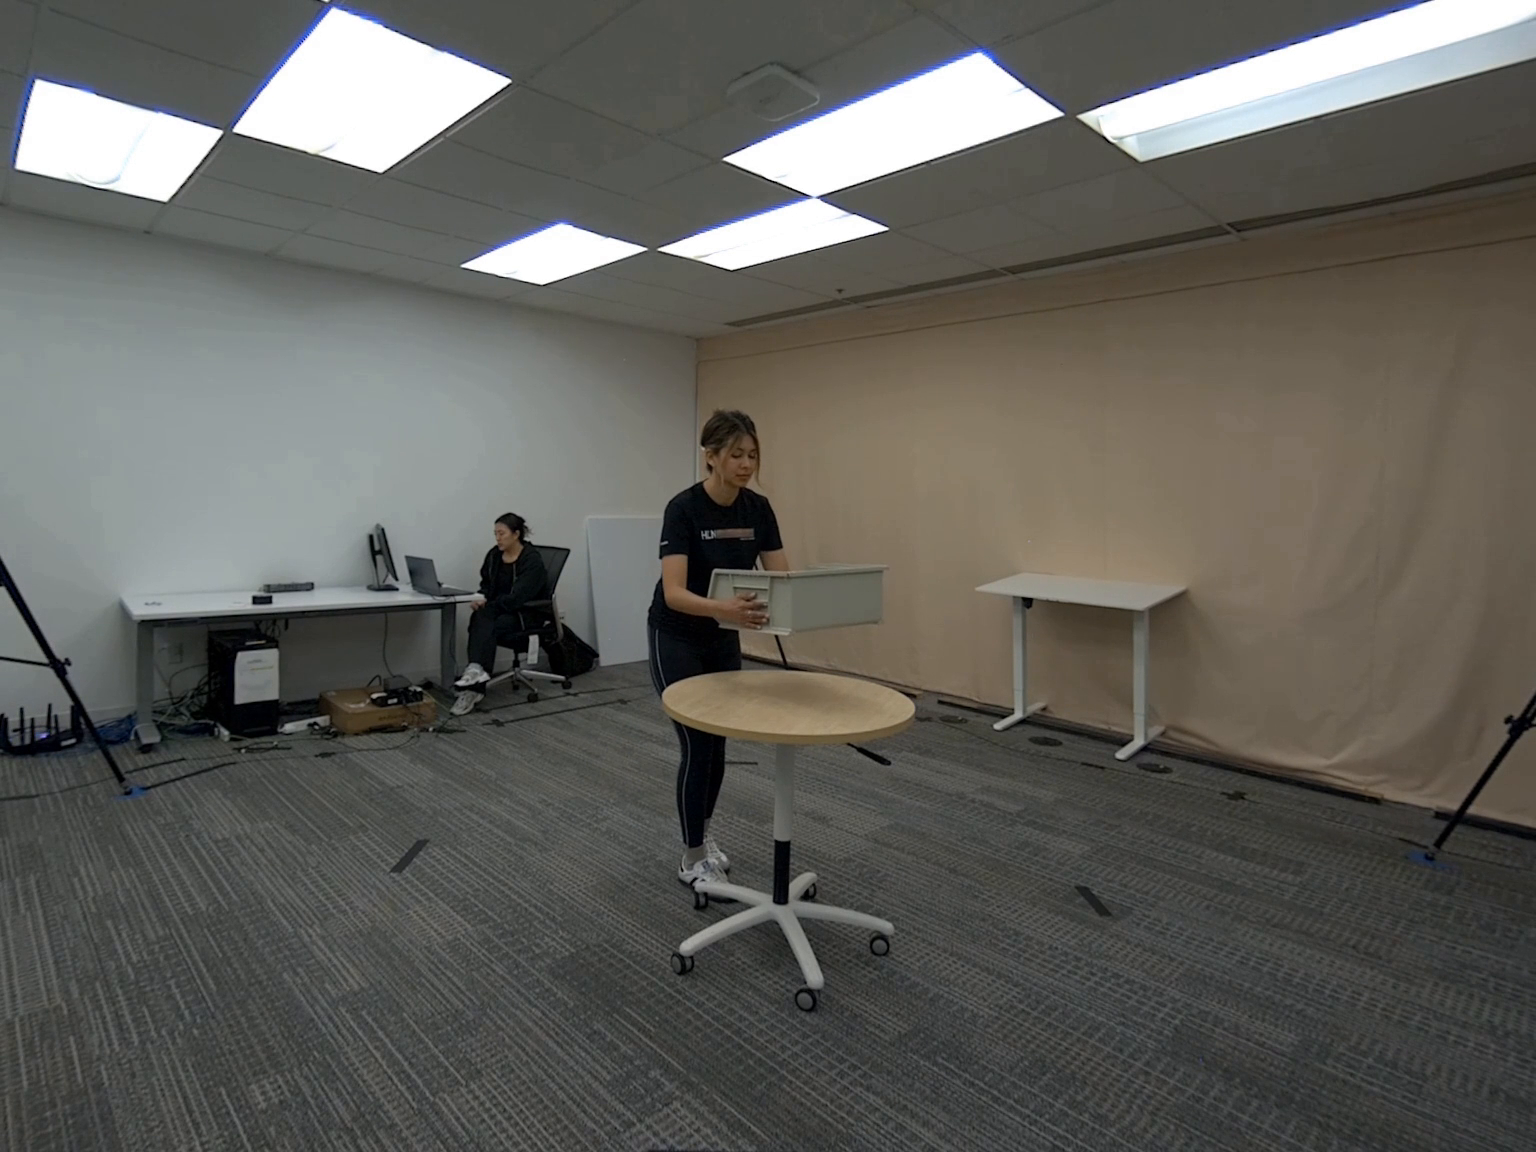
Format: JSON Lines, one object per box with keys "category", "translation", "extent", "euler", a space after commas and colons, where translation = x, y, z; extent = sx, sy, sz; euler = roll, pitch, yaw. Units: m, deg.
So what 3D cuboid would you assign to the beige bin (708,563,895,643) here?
{"category": "beige bin", "translation": [0.098, 0.068, 2.584], "extent": [0.413, 0.188, 0.387], "euler": [-3, 4, -41]}
